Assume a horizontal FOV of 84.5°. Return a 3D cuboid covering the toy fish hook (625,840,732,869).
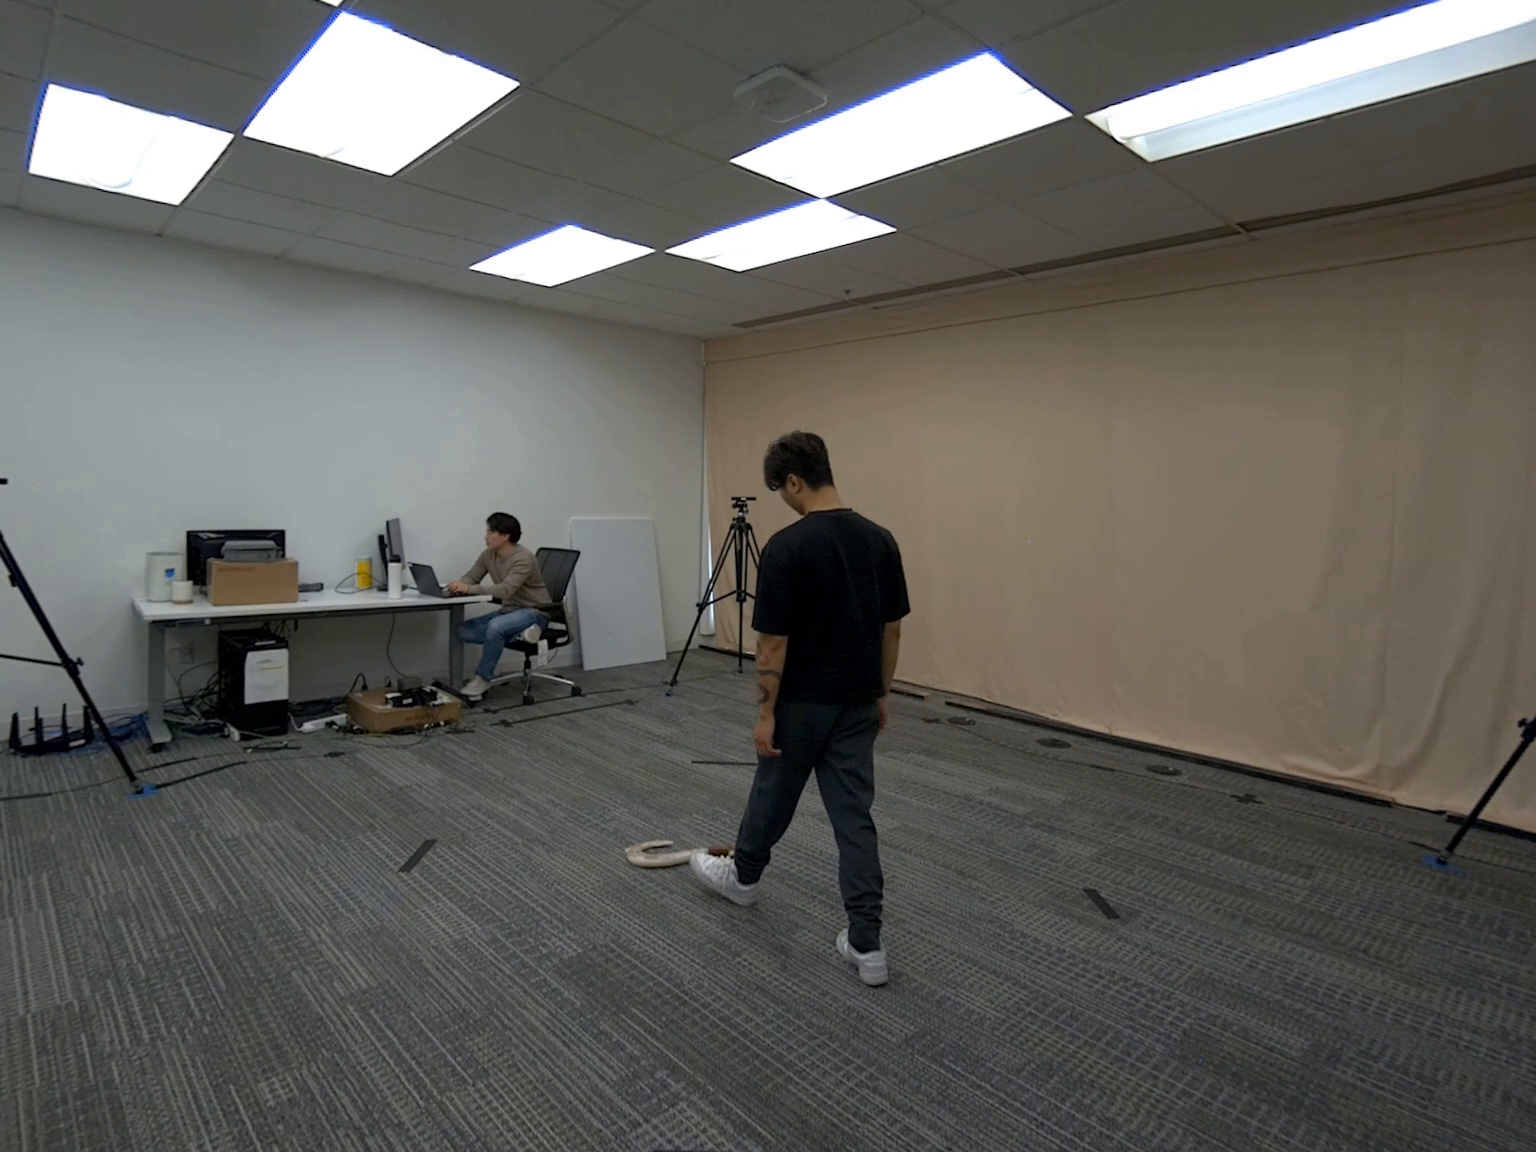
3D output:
[{"bbox_3d":[-0.304,1.064,3.281,0.501,0.048,0.228,0,6,-13],"label":"toy fish hook"}]
